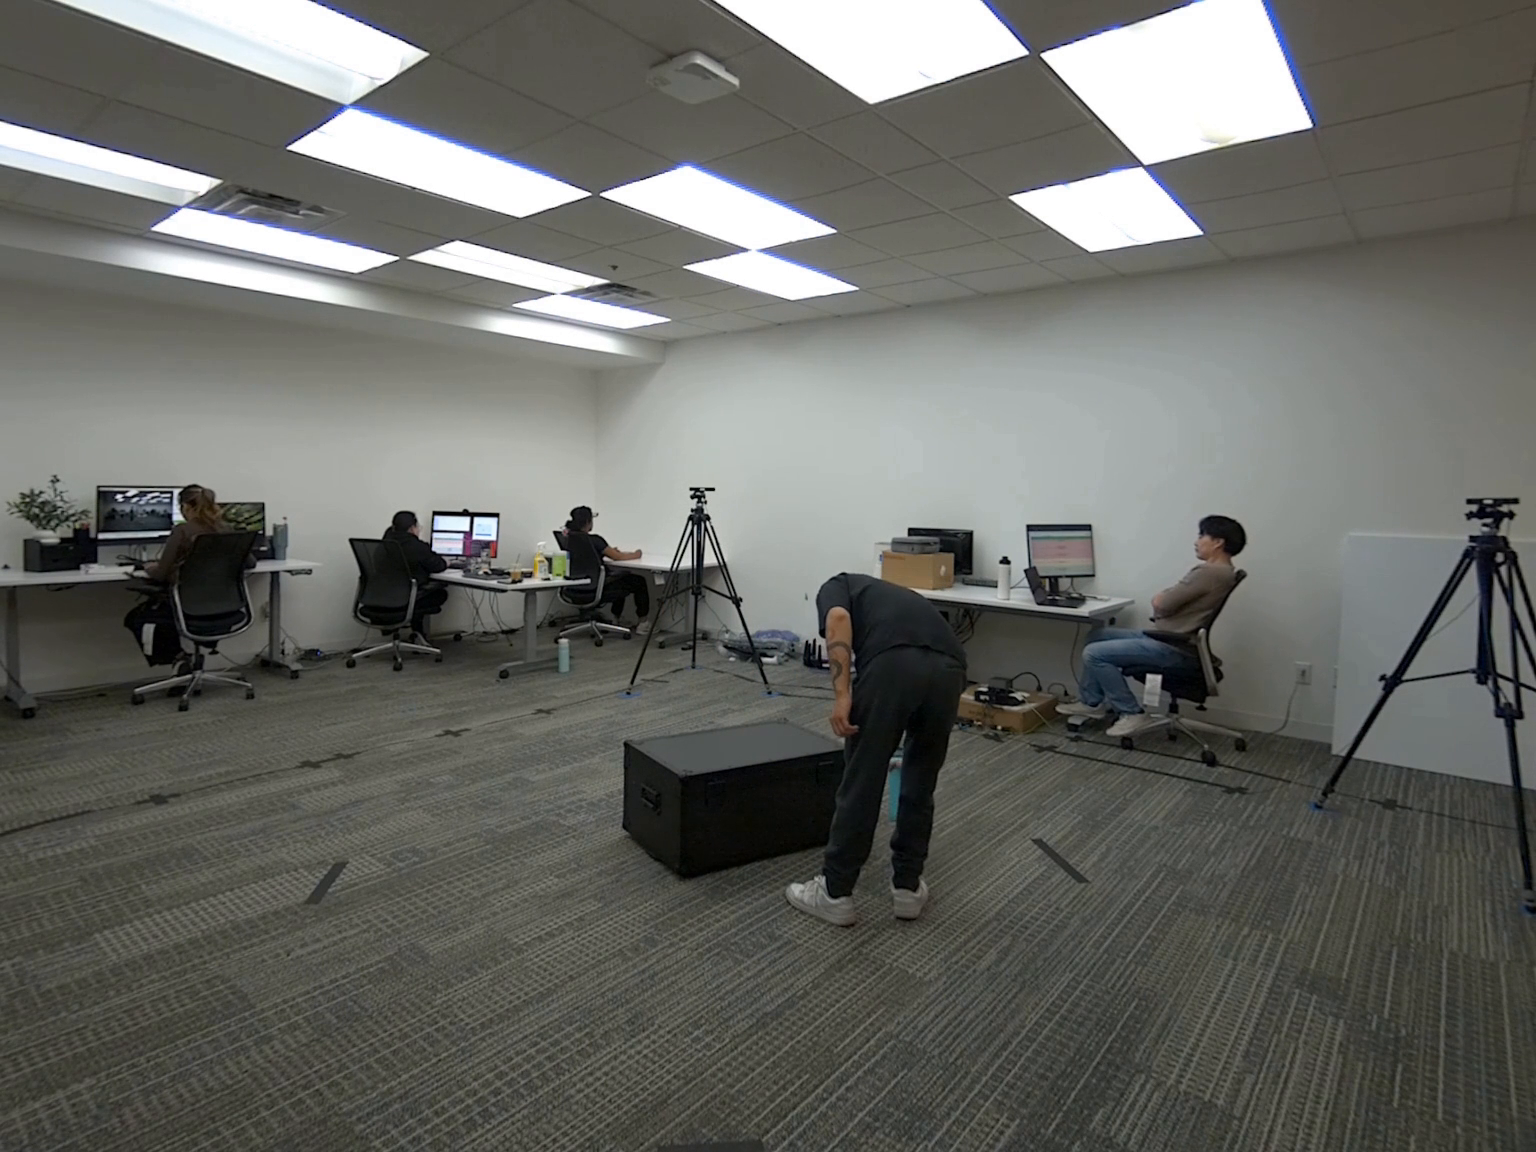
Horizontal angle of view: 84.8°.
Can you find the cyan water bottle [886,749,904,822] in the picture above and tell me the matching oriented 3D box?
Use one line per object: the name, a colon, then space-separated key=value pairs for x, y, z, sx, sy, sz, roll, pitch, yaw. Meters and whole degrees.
cyan water bottle: x=0.495 y=0.772 z=3.236 sx=0.092 sy=0.289 sz=0.090 roll=2 pitch=-24 yaw=-1
